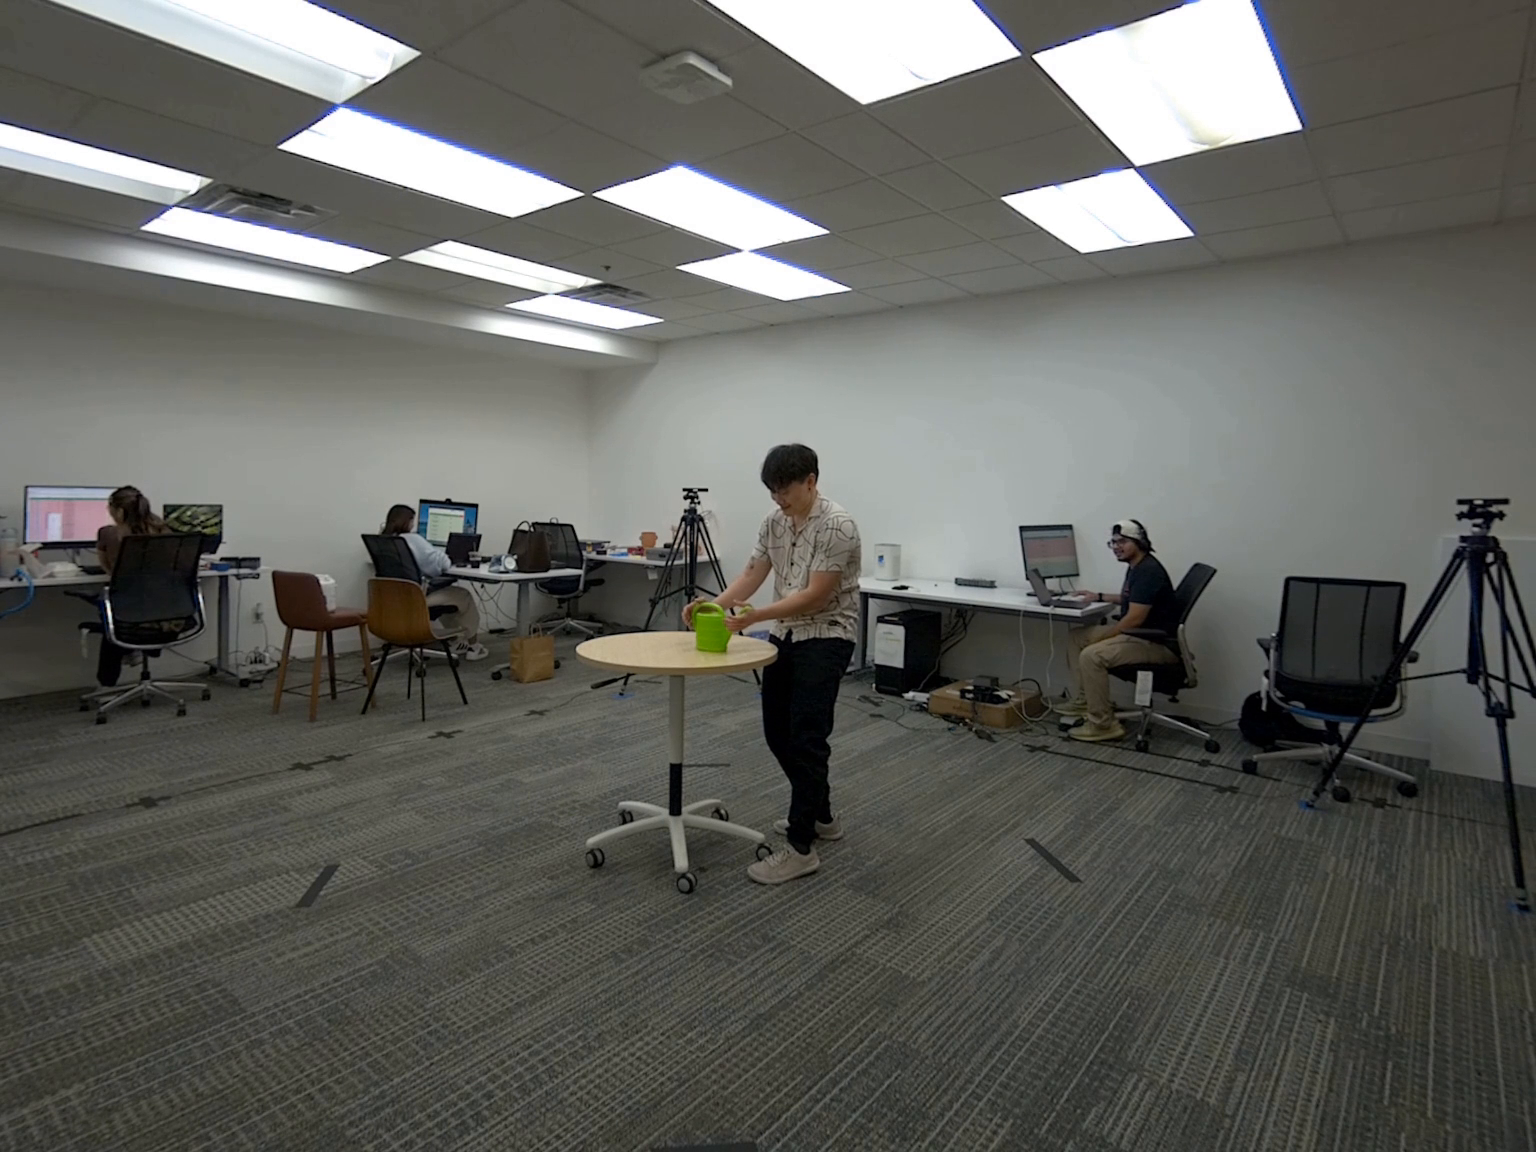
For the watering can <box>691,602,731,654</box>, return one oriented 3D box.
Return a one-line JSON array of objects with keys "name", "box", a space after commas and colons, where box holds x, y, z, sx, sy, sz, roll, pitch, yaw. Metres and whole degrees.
[{"name": "watering can", "box": [-0.196, 0.192, 3.169, 0.095, 0.176, 0.288, -9, 9, -43]}]
